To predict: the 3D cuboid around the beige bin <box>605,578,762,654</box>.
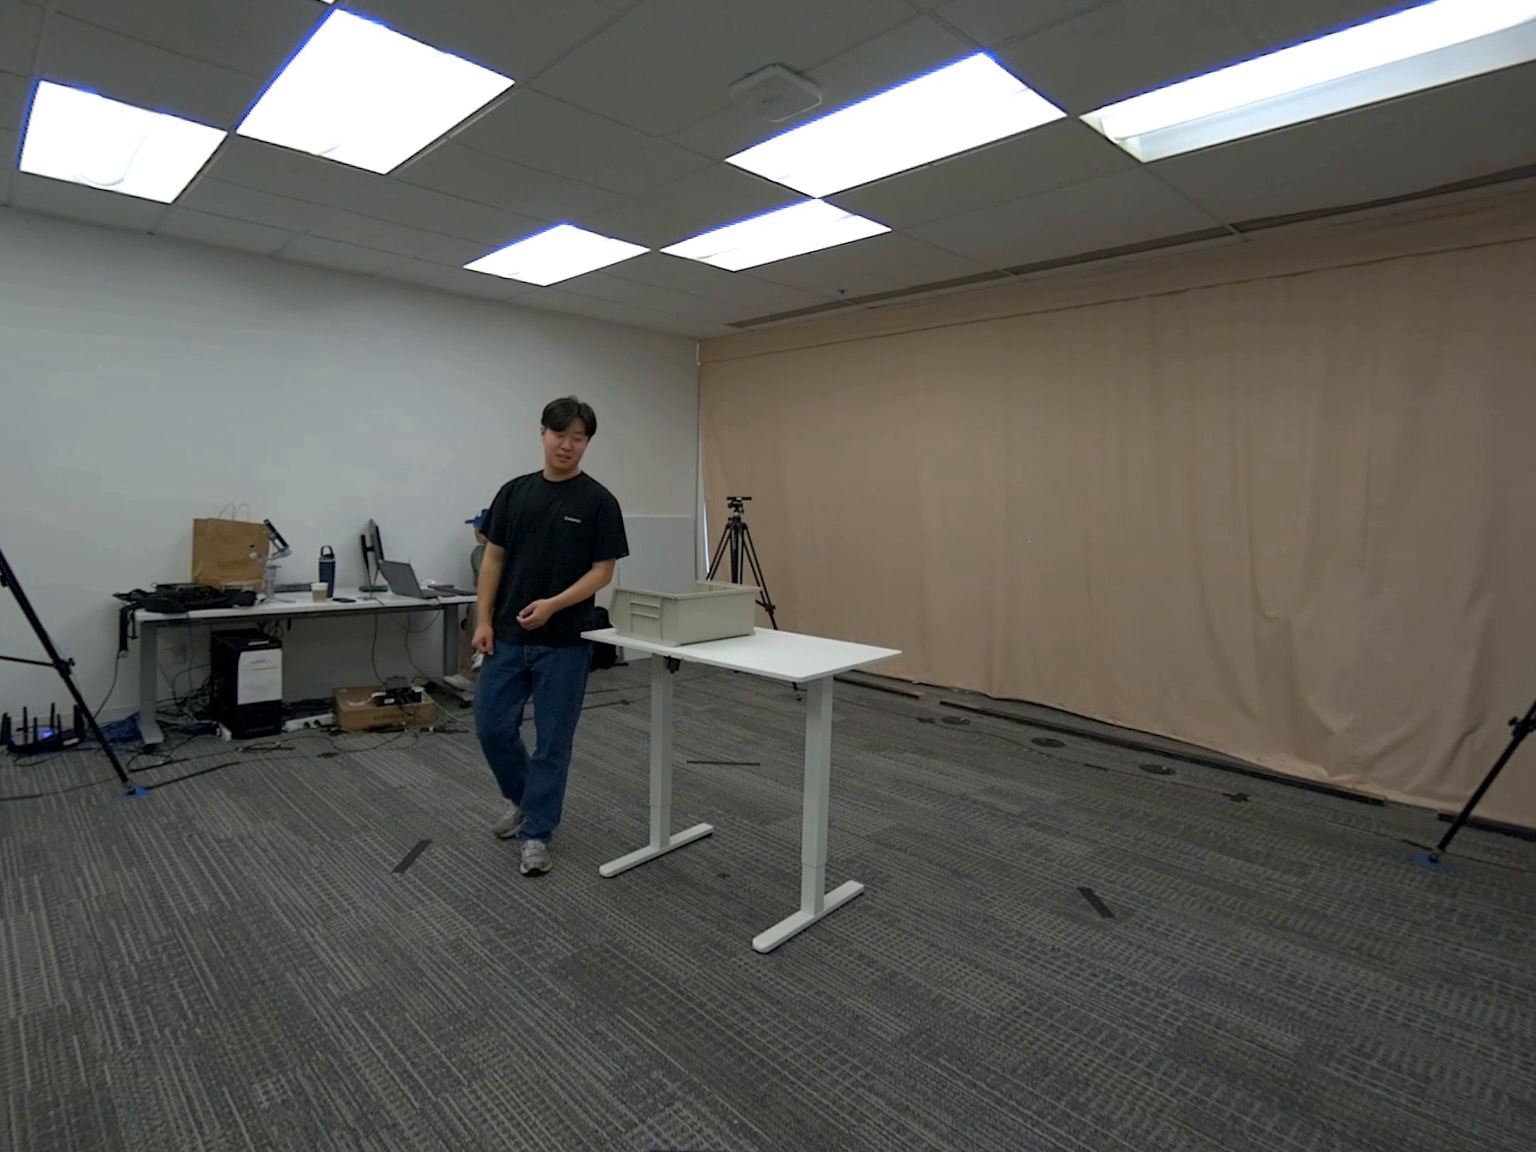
[{"bbox_3d":[-0.311,0.134,3.106,0.387,0.188,0.413,8,8,43],"label":"beige bin"}]
